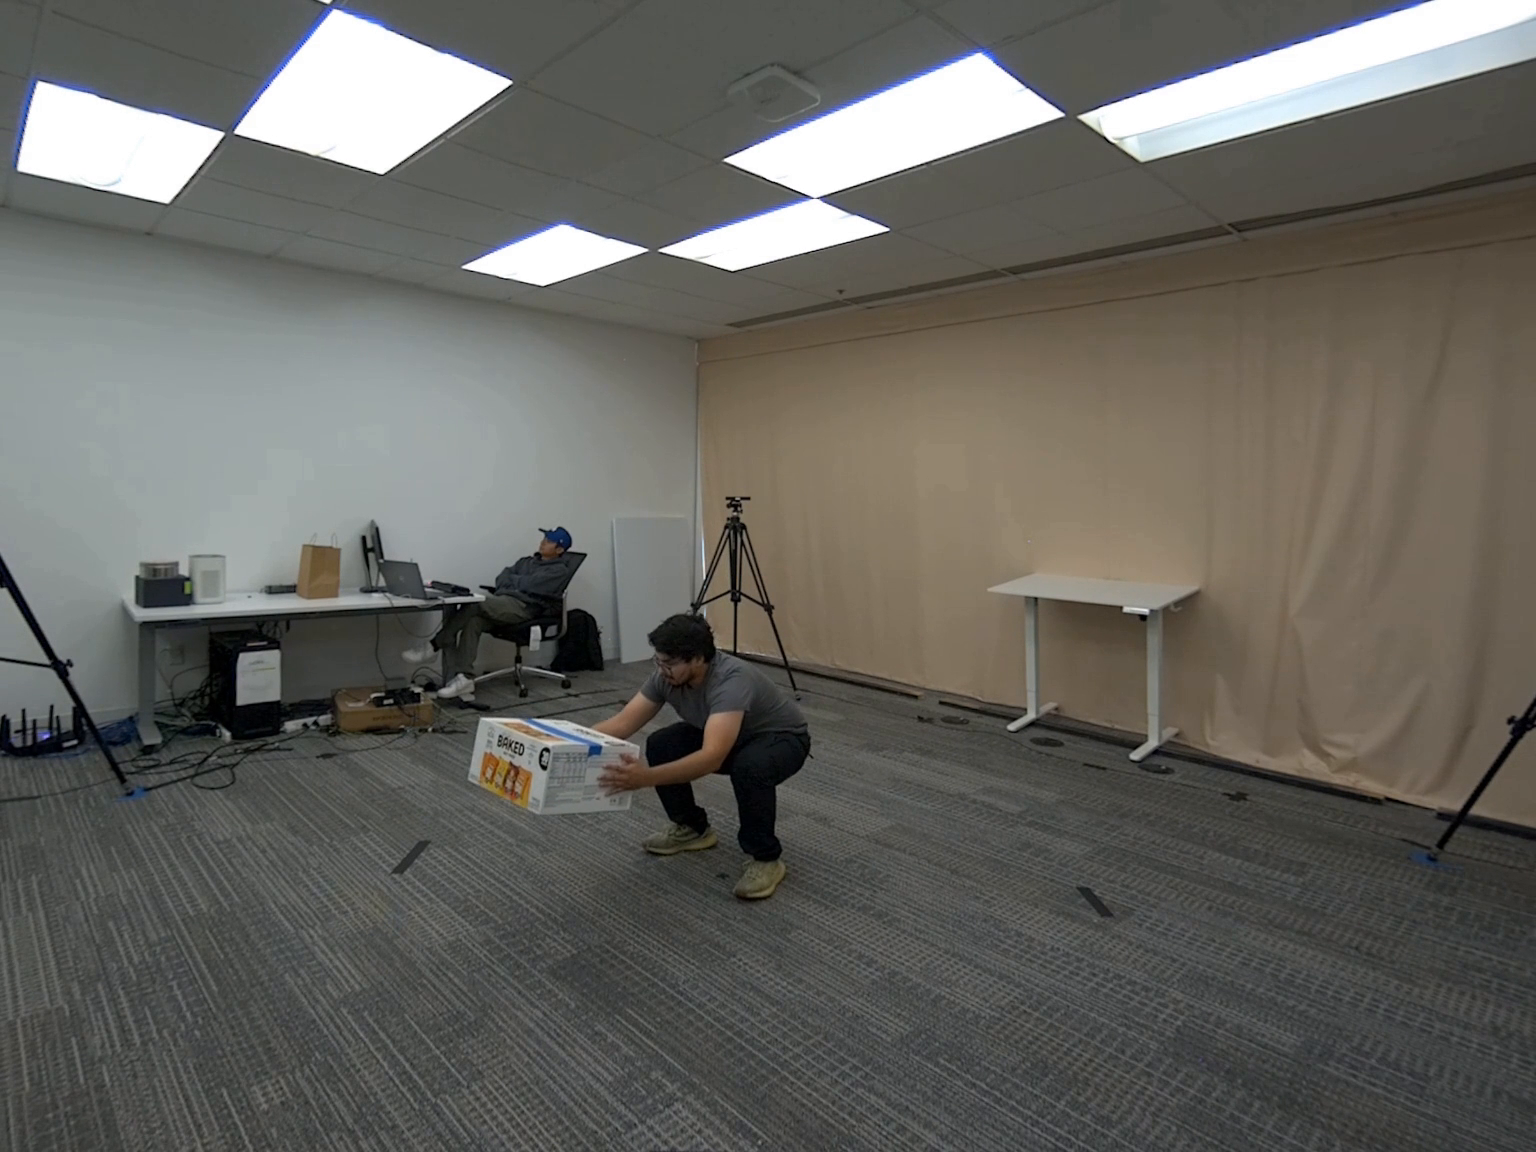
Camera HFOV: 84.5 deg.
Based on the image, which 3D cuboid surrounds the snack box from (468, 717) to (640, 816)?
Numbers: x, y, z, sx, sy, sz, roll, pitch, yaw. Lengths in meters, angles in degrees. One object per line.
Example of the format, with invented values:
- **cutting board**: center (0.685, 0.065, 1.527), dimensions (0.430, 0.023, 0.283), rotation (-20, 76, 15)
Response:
- **snack box**: center (-0.681, 0.582, 2.662), dimensions (0.416, 0.206, 0.331), rotation (6, -5, 42)
